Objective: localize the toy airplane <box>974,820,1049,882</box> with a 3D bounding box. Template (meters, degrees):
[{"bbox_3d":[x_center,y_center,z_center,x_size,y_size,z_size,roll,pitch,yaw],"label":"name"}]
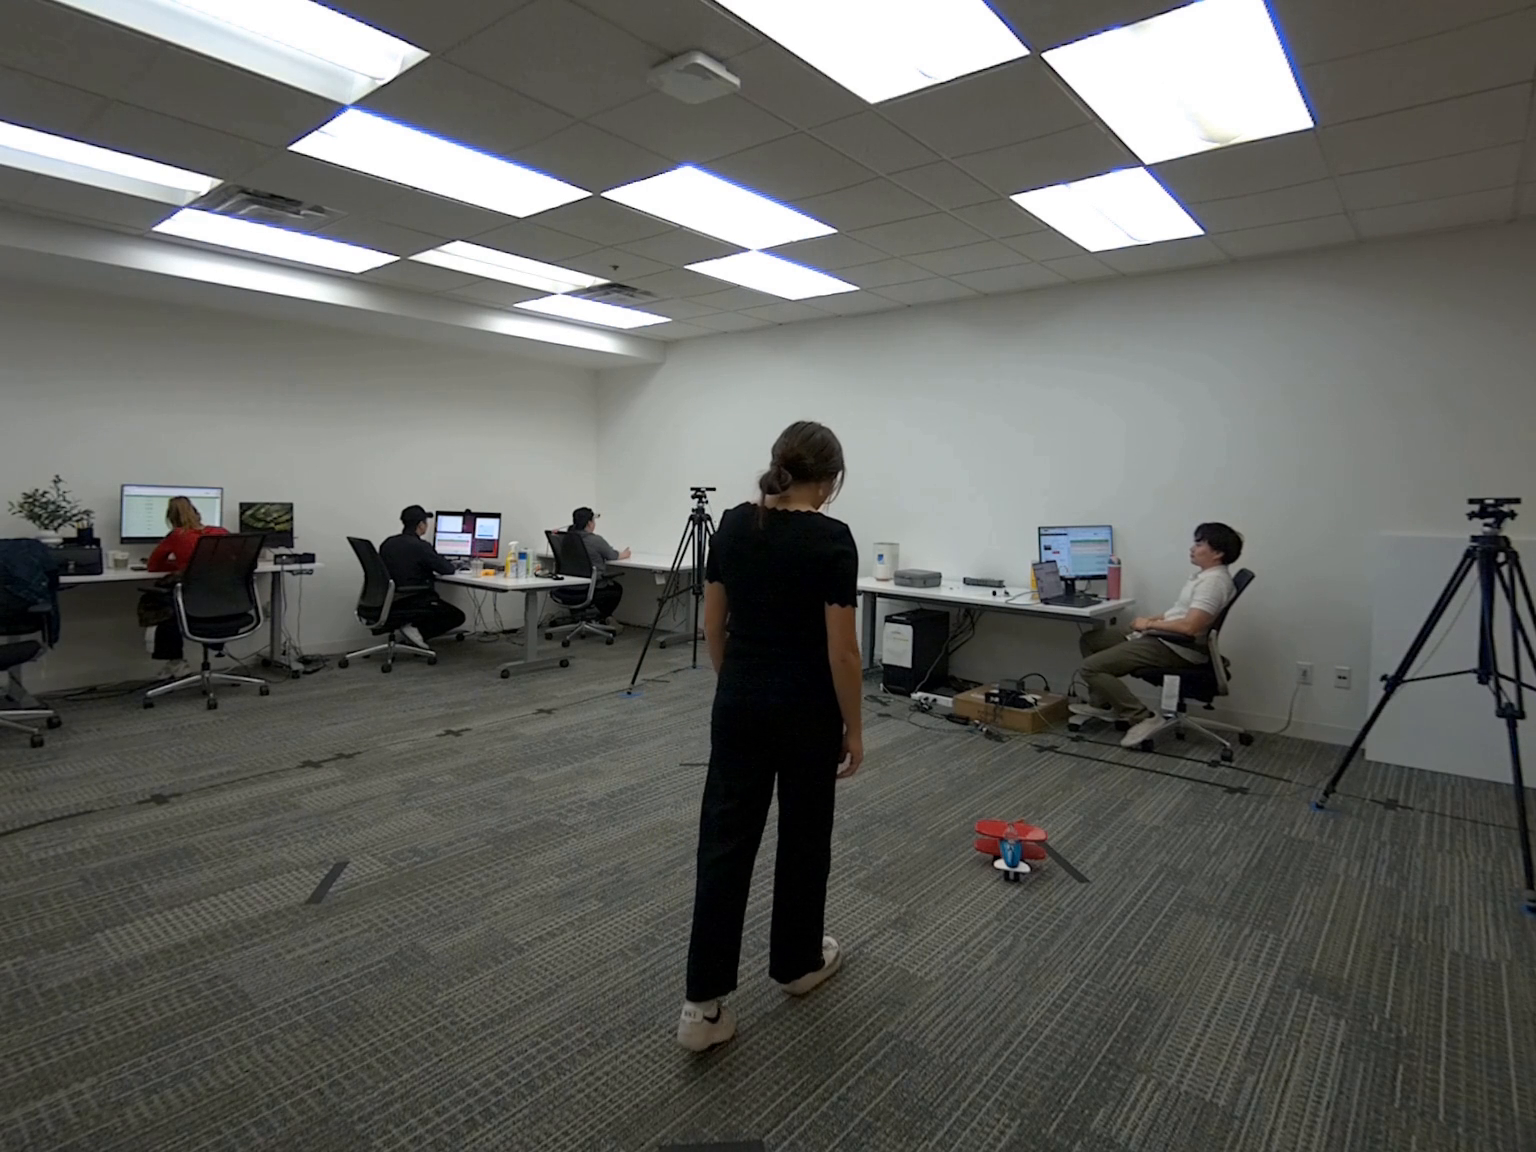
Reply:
[{"bbox_3d":[0.912,1.013,3.158,0.247,0.156,0.264,0,4,-14],"label":"toy airplane"}]
